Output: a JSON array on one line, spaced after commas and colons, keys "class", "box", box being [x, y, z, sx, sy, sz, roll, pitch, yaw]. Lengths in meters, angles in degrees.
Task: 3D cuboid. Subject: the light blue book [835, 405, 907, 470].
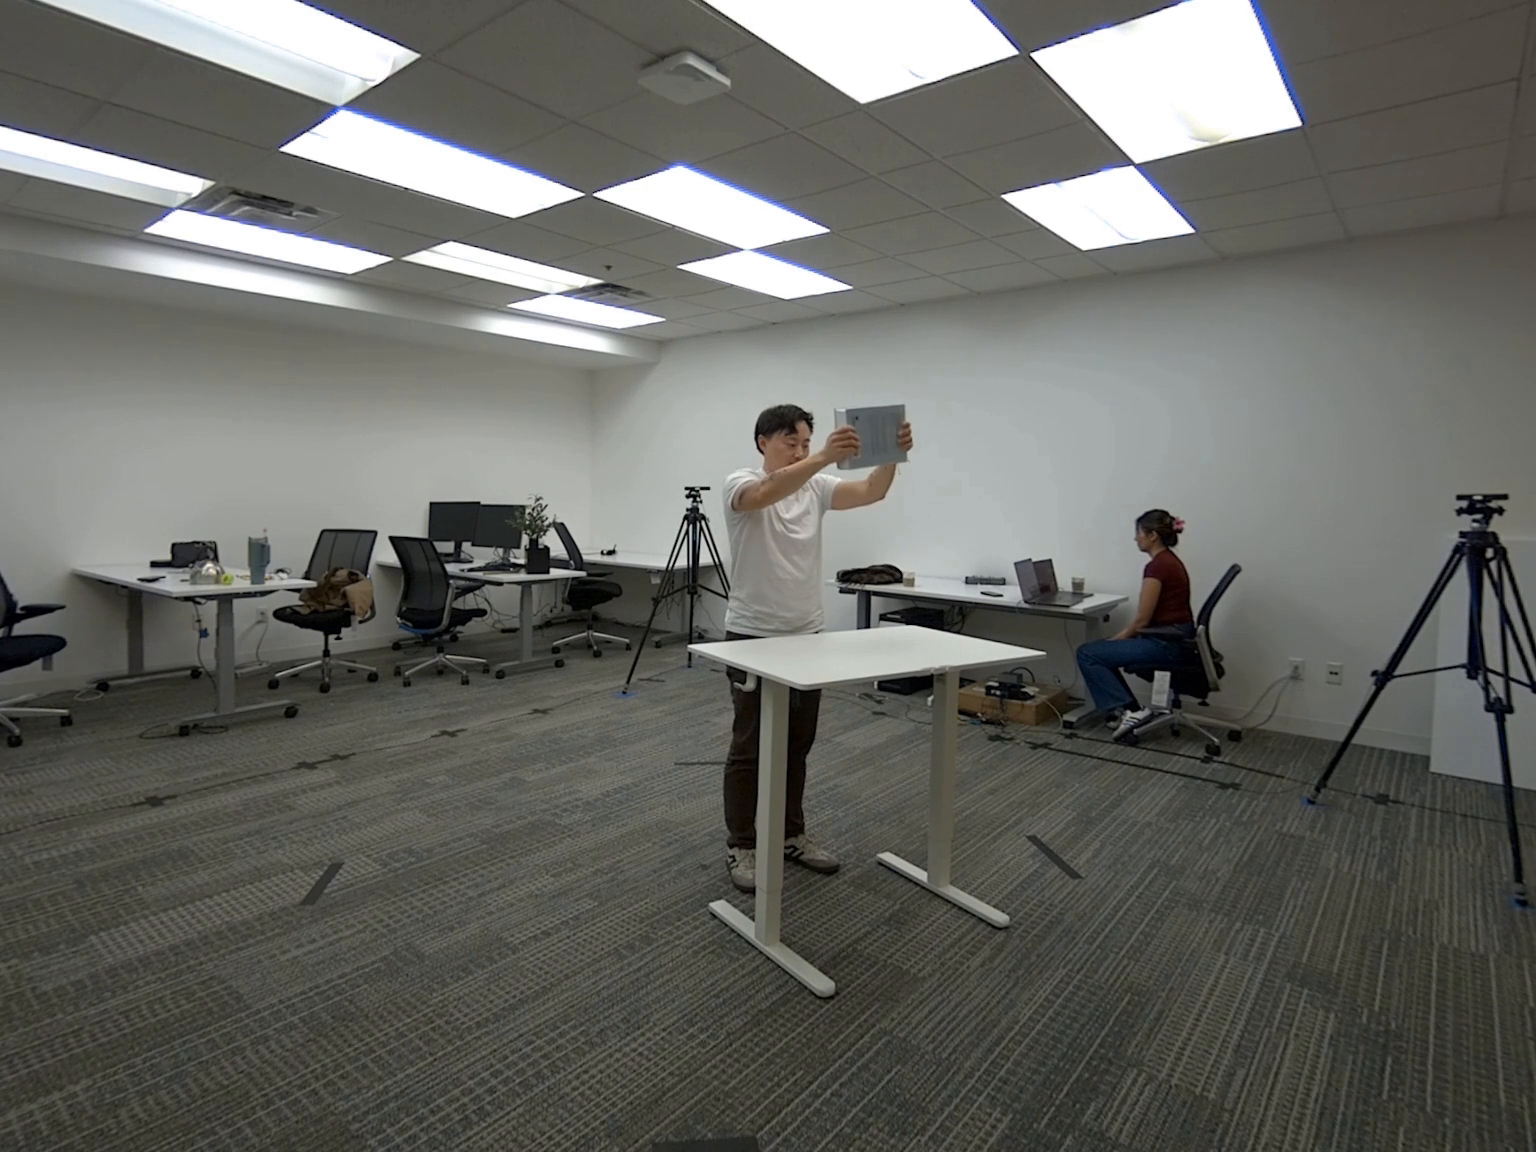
[{"class": "light blue book", "box": [0.317, -0.446, 2.689, 0.255, 0.189, 0.061, -12, 15, -35]}]
